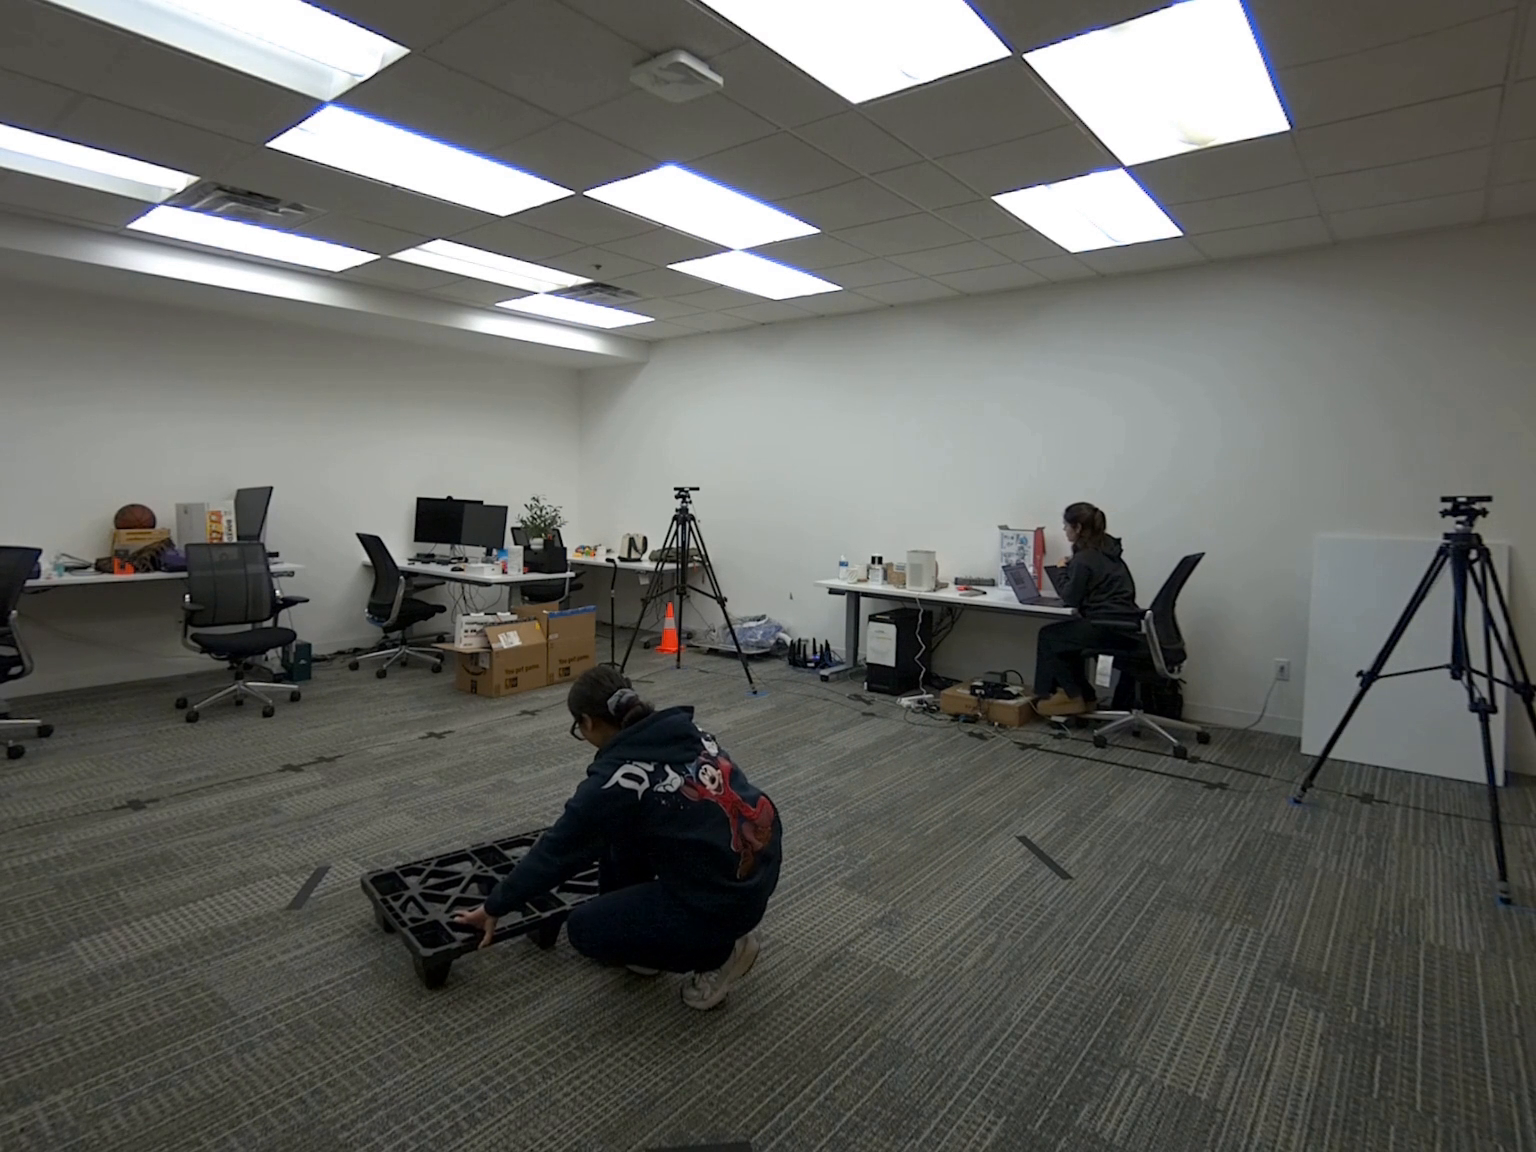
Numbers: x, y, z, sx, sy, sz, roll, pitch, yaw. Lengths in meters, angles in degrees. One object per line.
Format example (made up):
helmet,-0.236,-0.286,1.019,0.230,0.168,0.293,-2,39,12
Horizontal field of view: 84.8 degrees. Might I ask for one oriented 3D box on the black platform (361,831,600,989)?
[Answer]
black platform,-0.820,1.026,2.742,0.782,0.143,0.626,-4,8,-40
